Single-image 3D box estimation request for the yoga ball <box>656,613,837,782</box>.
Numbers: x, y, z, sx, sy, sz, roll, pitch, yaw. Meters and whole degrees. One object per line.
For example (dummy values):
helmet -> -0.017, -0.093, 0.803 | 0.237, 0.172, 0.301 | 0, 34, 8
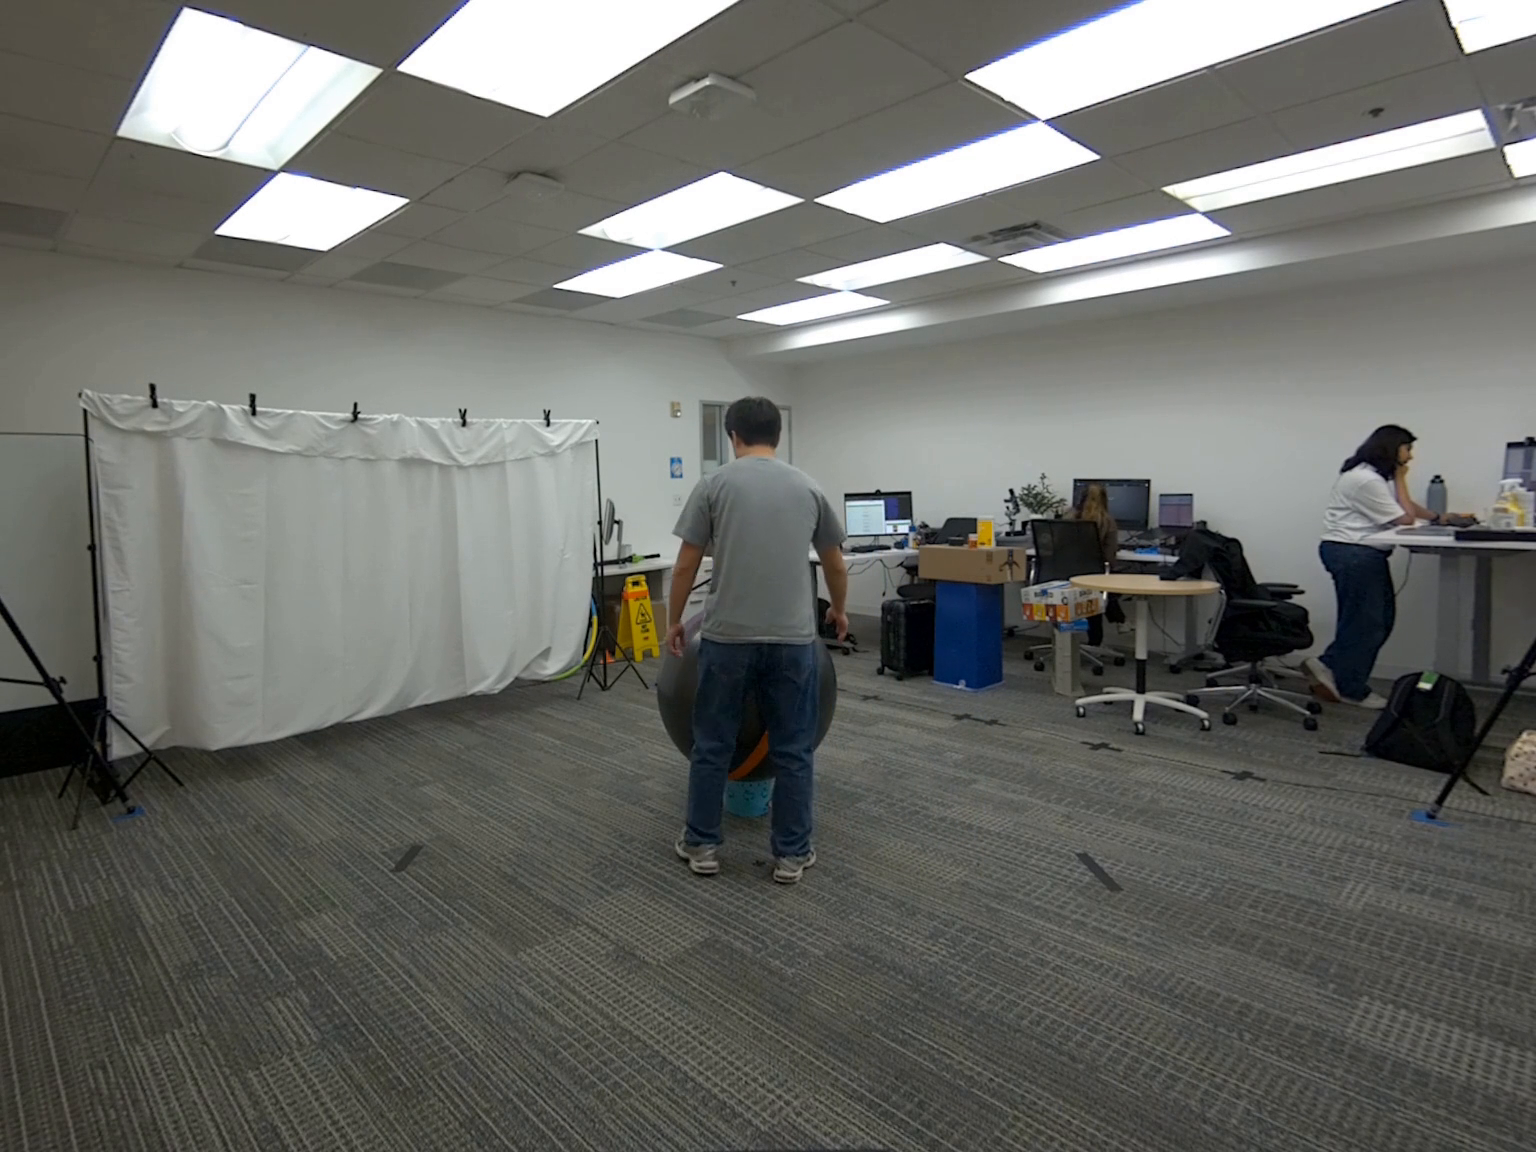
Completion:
yoga ball -> -0.092, 0.480, 3.616 | 0.757, 0.755, 0.762 | -1, 5, -2
